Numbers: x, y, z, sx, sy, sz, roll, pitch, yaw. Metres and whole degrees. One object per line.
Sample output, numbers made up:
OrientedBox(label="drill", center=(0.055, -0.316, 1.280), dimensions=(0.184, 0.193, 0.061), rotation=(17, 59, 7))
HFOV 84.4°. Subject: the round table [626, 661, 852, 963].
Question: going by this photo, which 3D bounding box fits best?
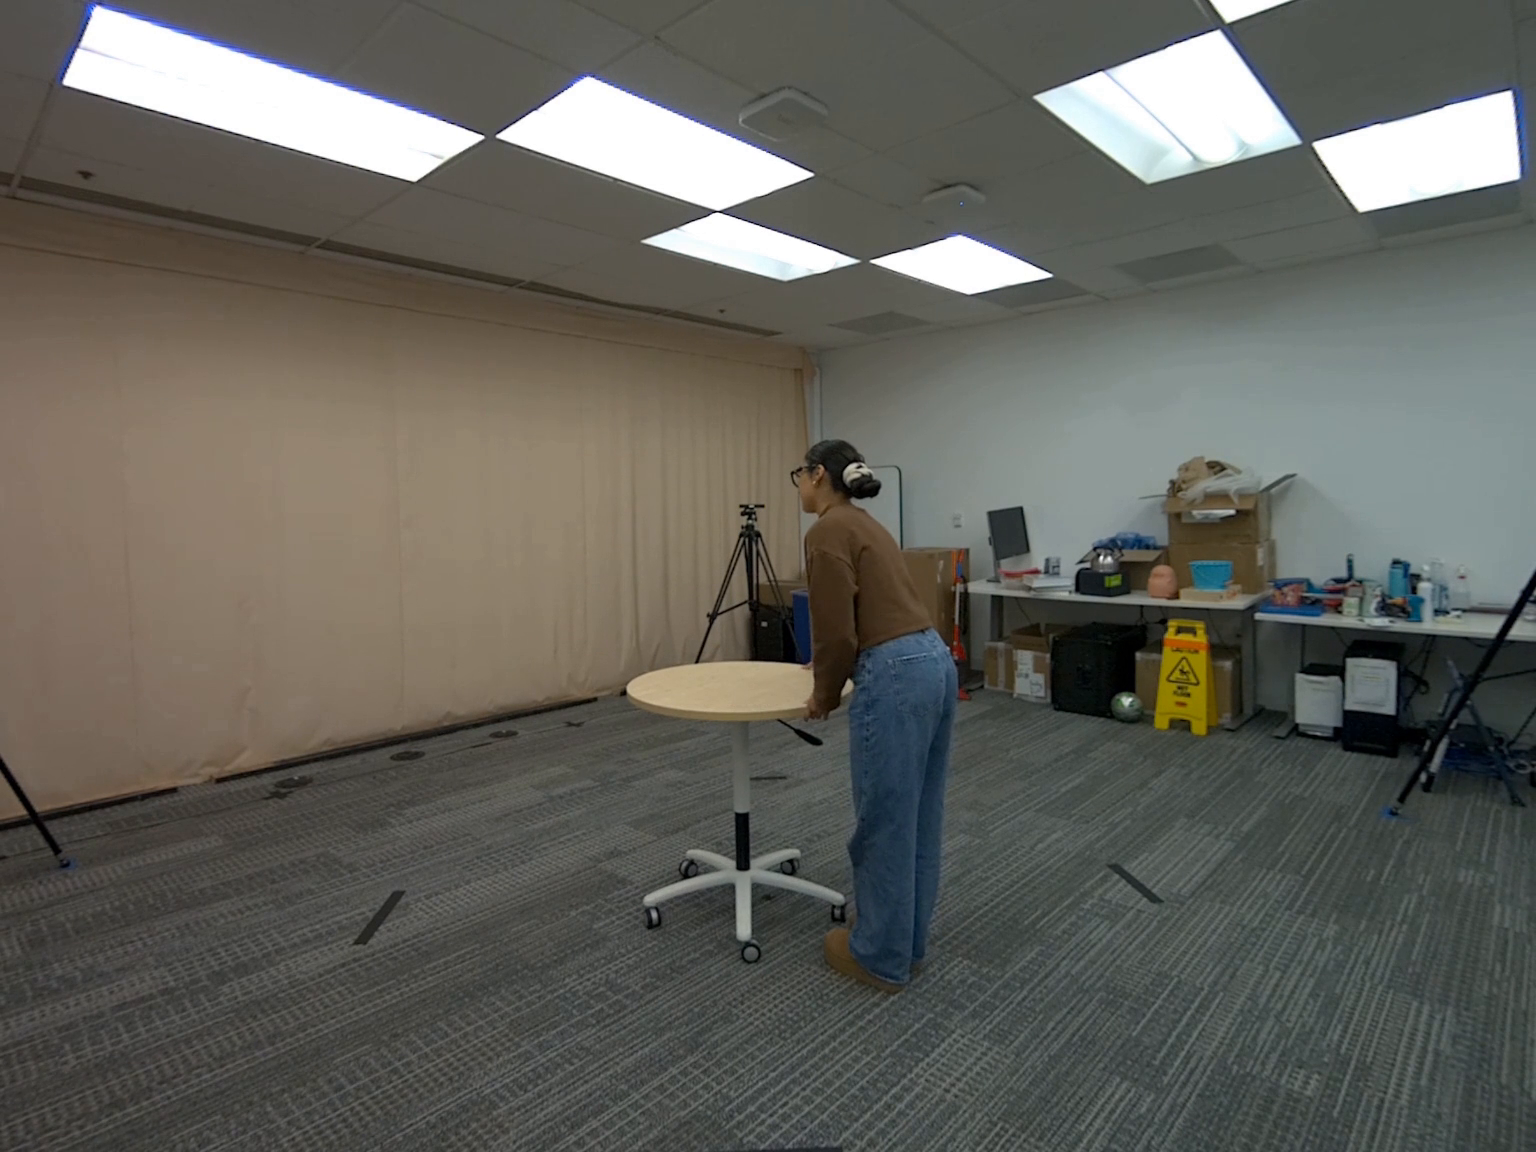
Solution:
OrientedBox(label="round table", center=(-0.093, 0.760, 2.891), dimensions=(0.763, 0.792, 0.767), rotation=(-1, 4, -2))
